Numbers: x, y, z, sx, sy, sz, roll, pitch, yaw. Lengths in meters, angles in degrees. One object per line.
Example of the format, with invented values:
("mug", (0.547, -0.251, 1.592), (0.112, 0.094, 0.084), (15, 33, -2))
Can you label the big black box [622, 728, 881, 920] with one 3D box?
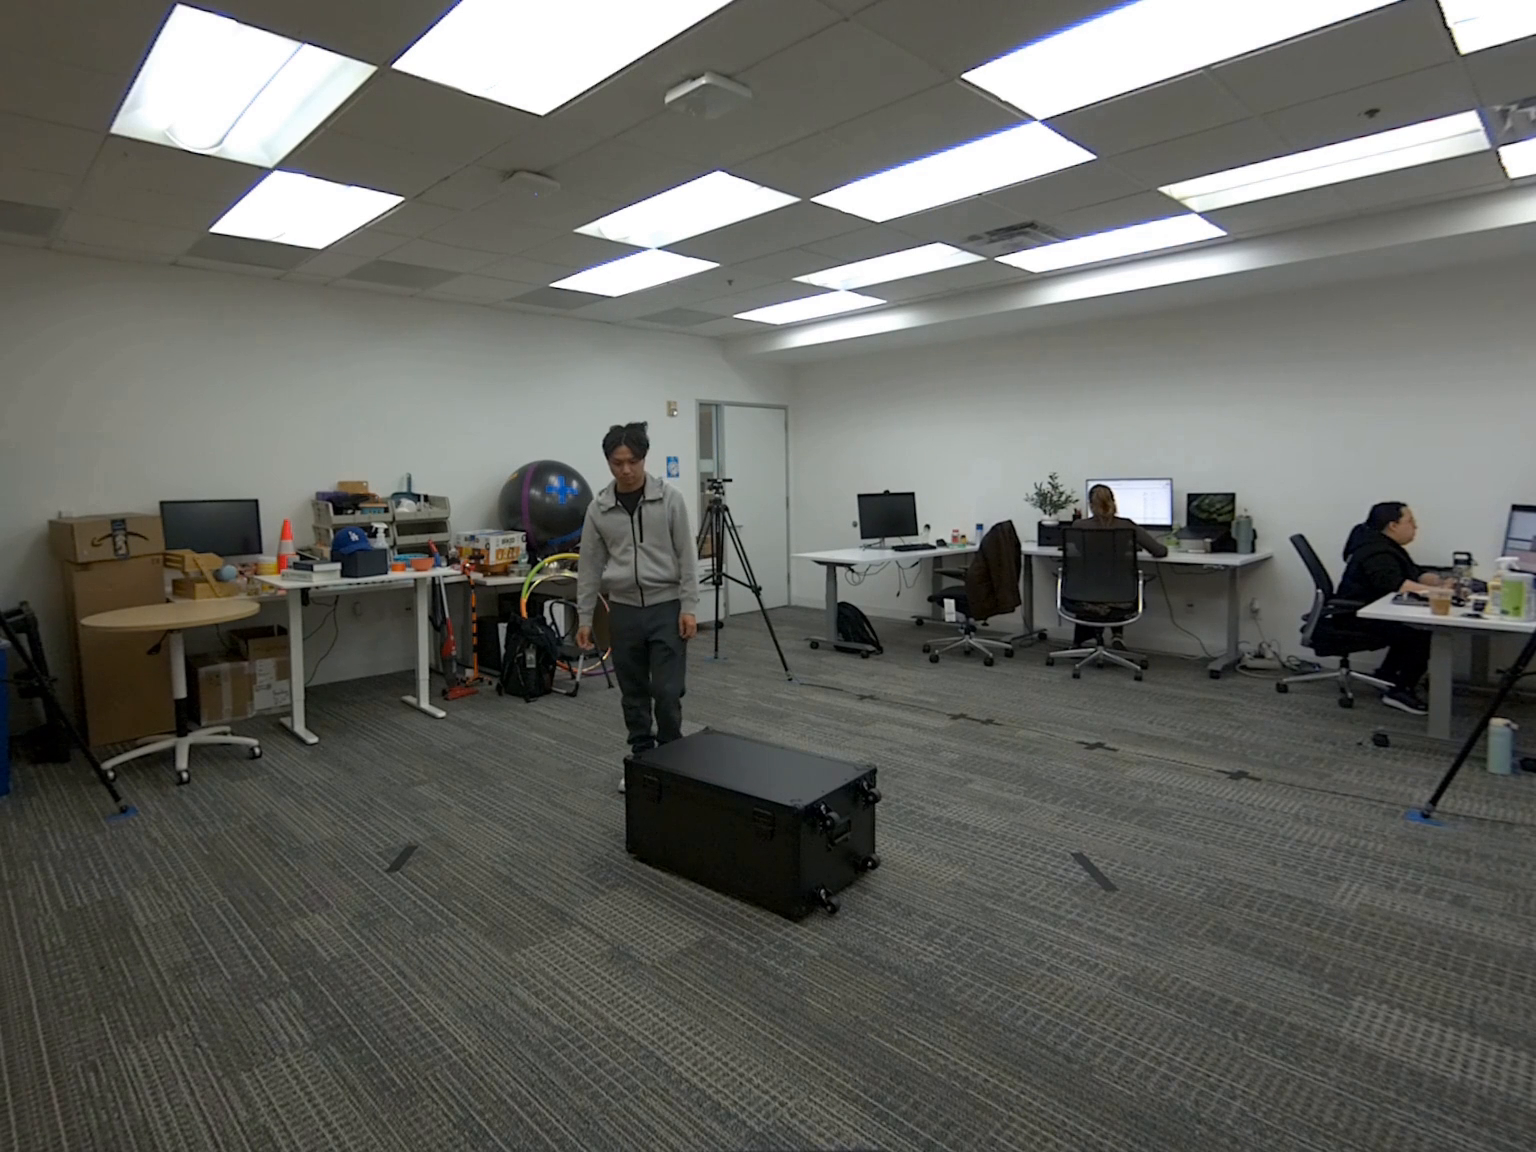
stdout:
("big black box", (-0.046, 0.859, 3.066), (0.887, 0.394, 0.508), (3, 7, 38))
